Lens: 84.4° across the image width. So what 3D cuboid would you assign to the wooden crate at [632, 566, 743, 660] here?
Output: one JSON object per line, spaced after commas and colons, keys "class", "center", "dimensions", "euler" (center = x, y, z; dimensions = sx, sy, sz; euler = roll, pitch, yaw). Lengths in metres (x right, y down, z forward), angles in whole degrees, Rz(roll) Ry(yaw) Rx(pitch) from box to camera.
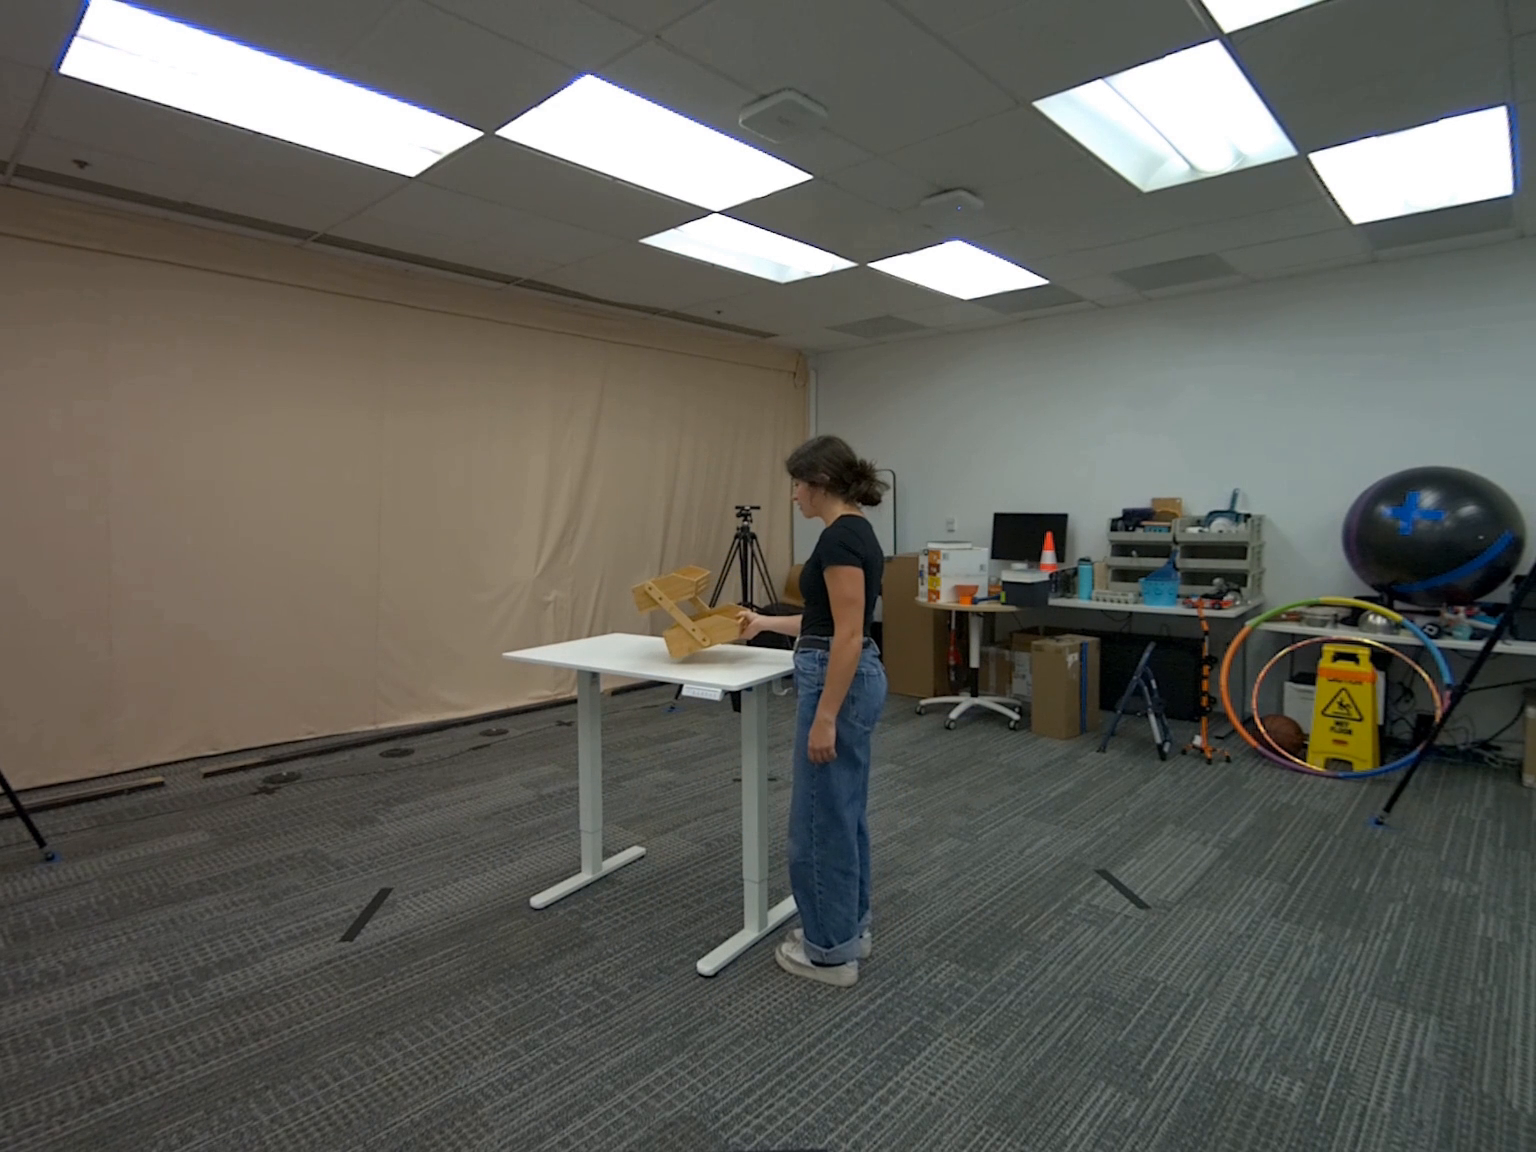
{"class": "wooden crate", "center": [-0.244, 0.100, 2.828], "dimensions": [0.304, 0.273, 0.322], "euler": [-18, 2, 9]}
